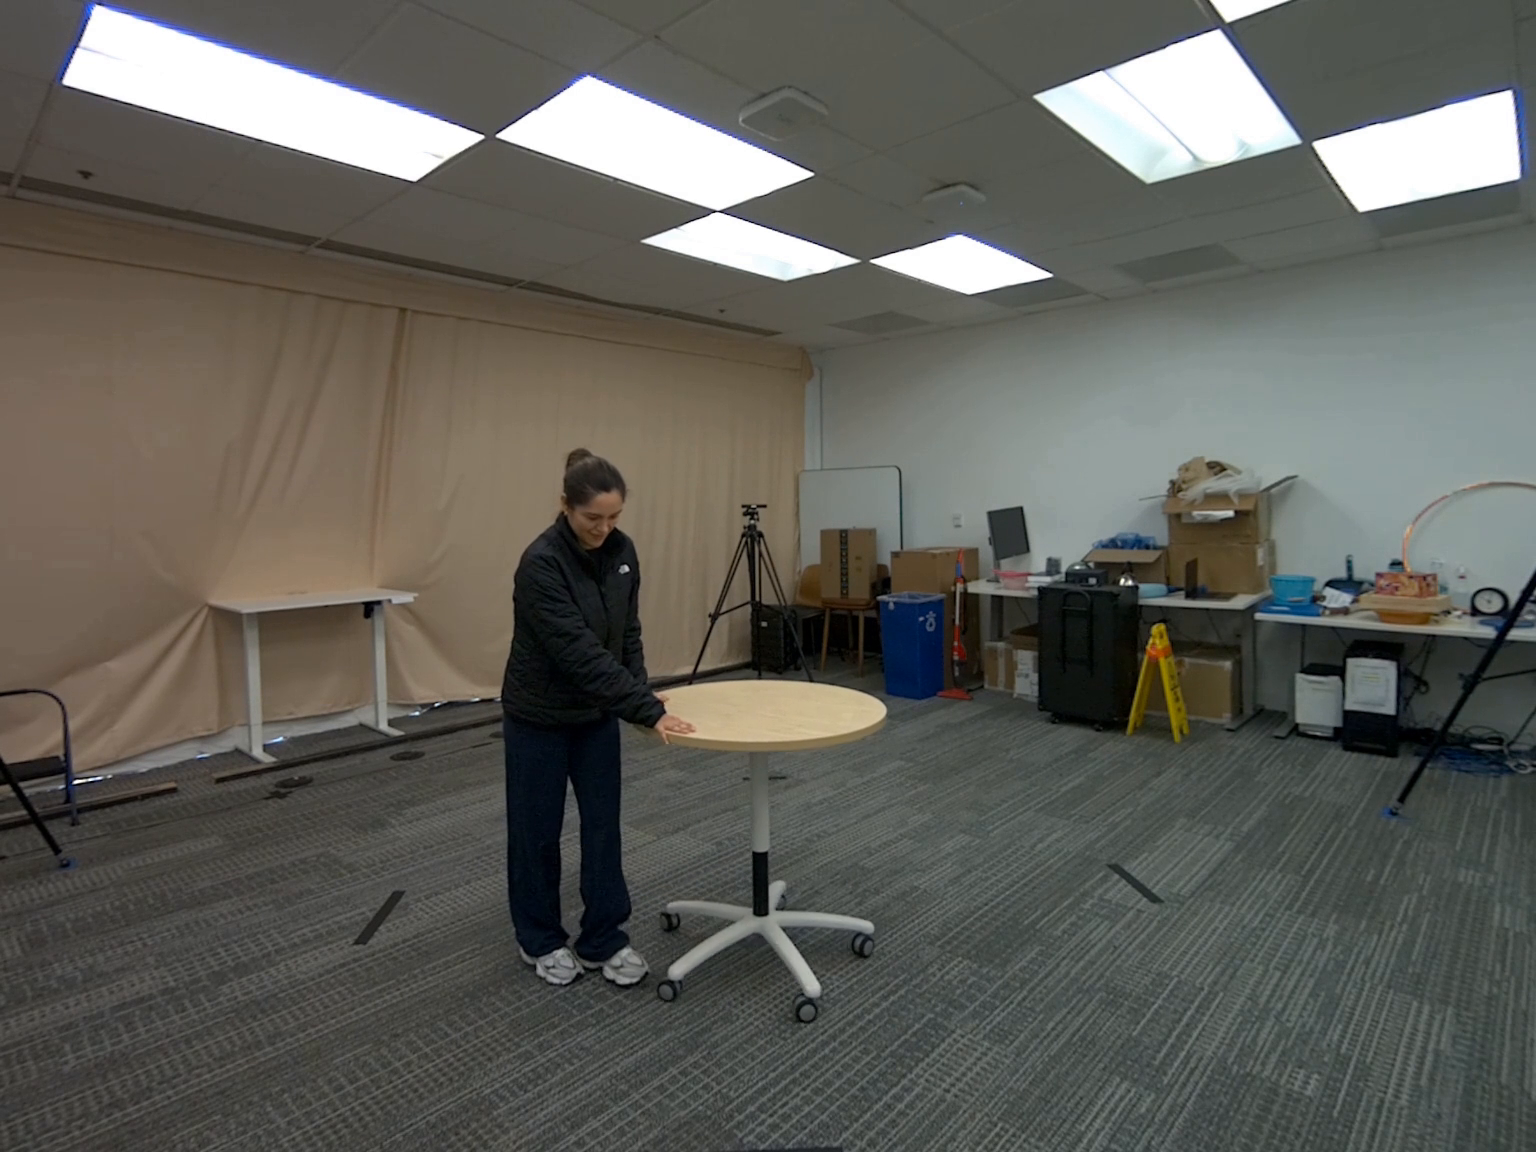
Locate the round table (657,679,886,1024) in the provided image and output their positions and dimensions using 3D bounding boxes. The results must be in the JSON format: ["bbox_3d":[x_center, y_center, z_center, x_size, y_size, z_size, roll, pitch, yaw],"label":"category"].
[{"bbox_3d":[-0.019,0.786,2.560,0.784,0.785,0.788,-1,4,-2],"label":"round table"}]
